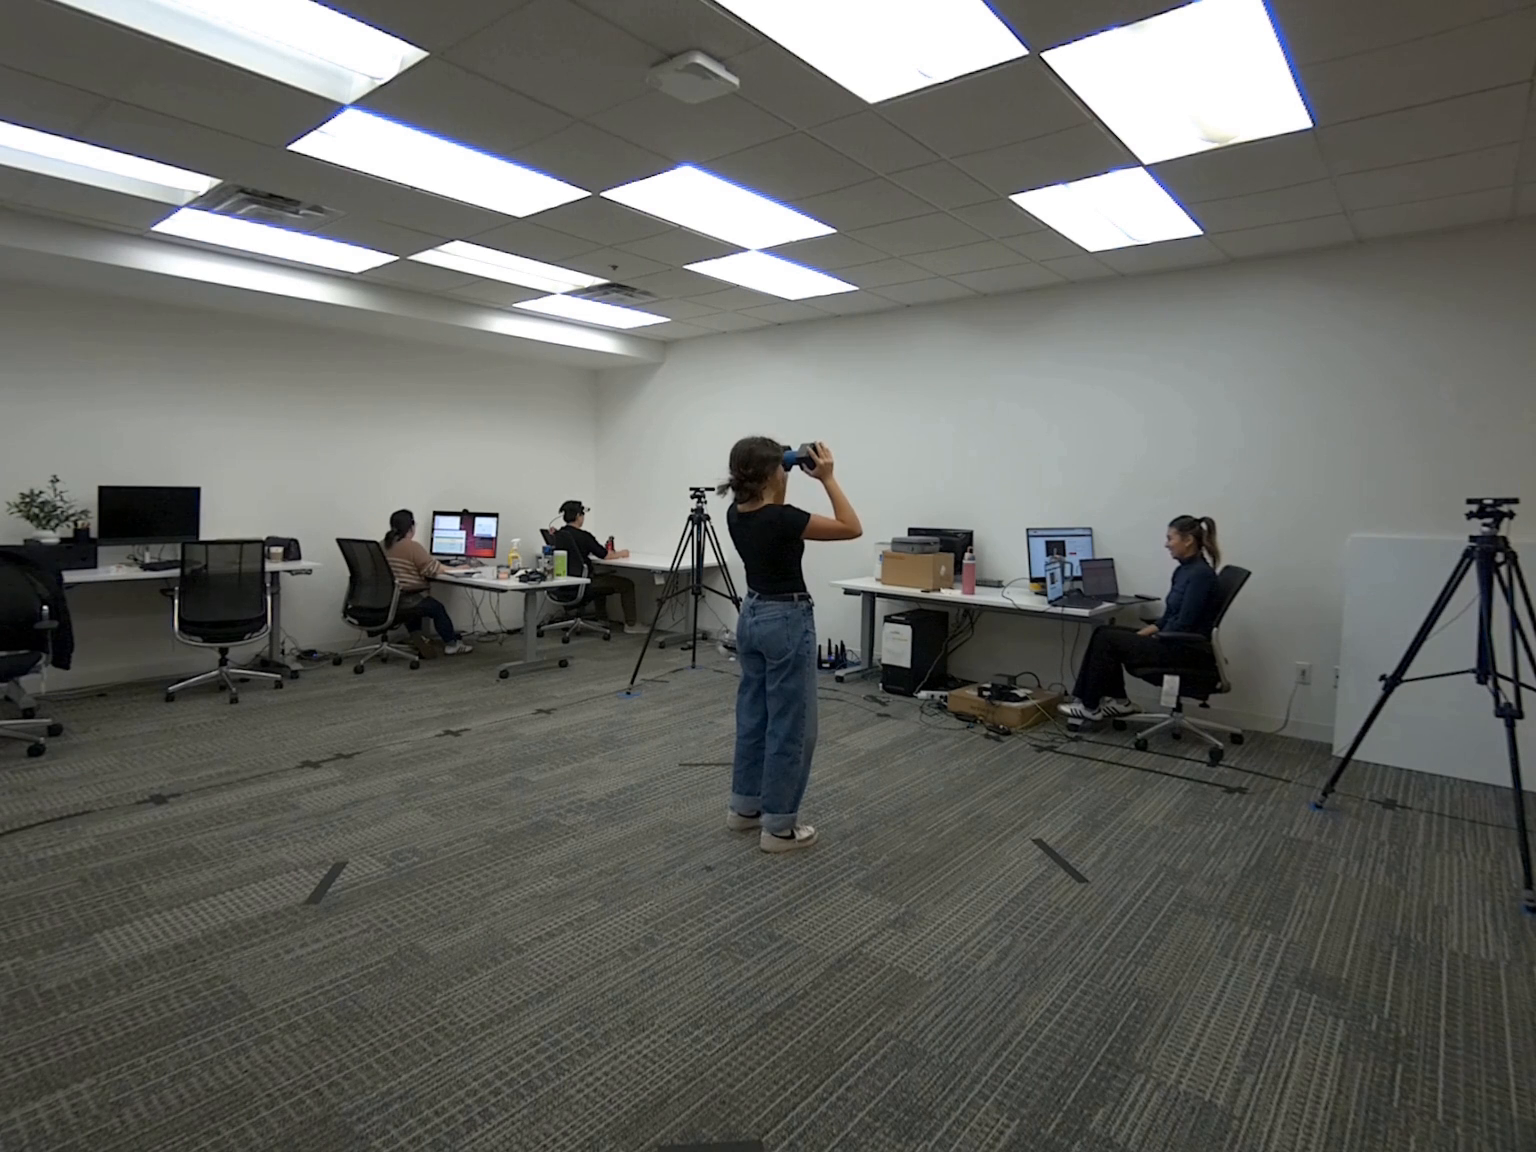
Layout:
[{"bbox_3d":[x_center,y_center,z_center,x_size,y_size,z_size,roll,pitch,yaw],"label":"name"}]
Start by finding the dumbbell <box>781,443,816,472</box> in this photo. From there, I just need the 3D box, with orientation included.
[{"bbox_3d":[0.097,-0.480,3.369,0.105,0.123,0.303,32,-14,-31],"label":"dumbbell"}]
